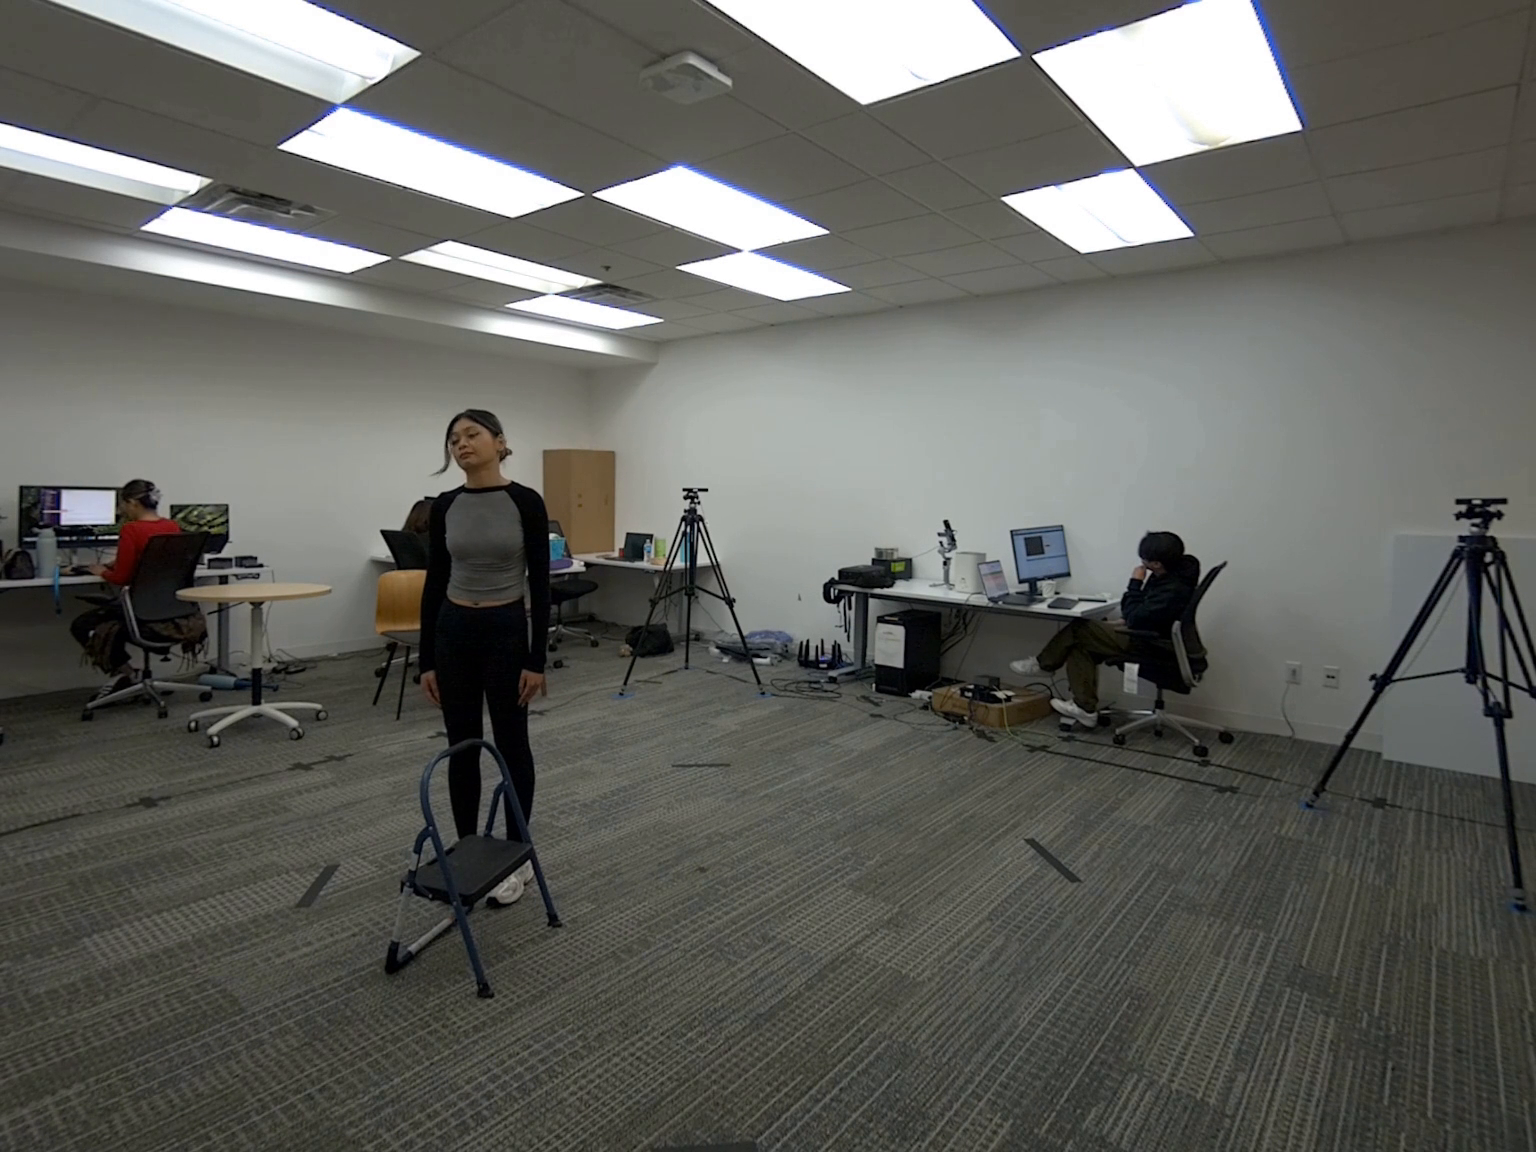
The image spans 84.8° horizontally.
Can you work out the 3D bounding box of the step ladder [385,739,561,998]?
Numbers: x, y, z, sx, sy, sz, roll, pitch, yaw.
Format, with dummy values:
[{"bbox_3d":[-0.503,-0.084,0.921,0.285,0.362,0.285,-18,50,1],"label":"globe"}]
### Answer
[{"bbox_3d":[-0.878,0.816,2.538,0.355,0.605,0.424,2,3,16],"label":"step ladder"}]
